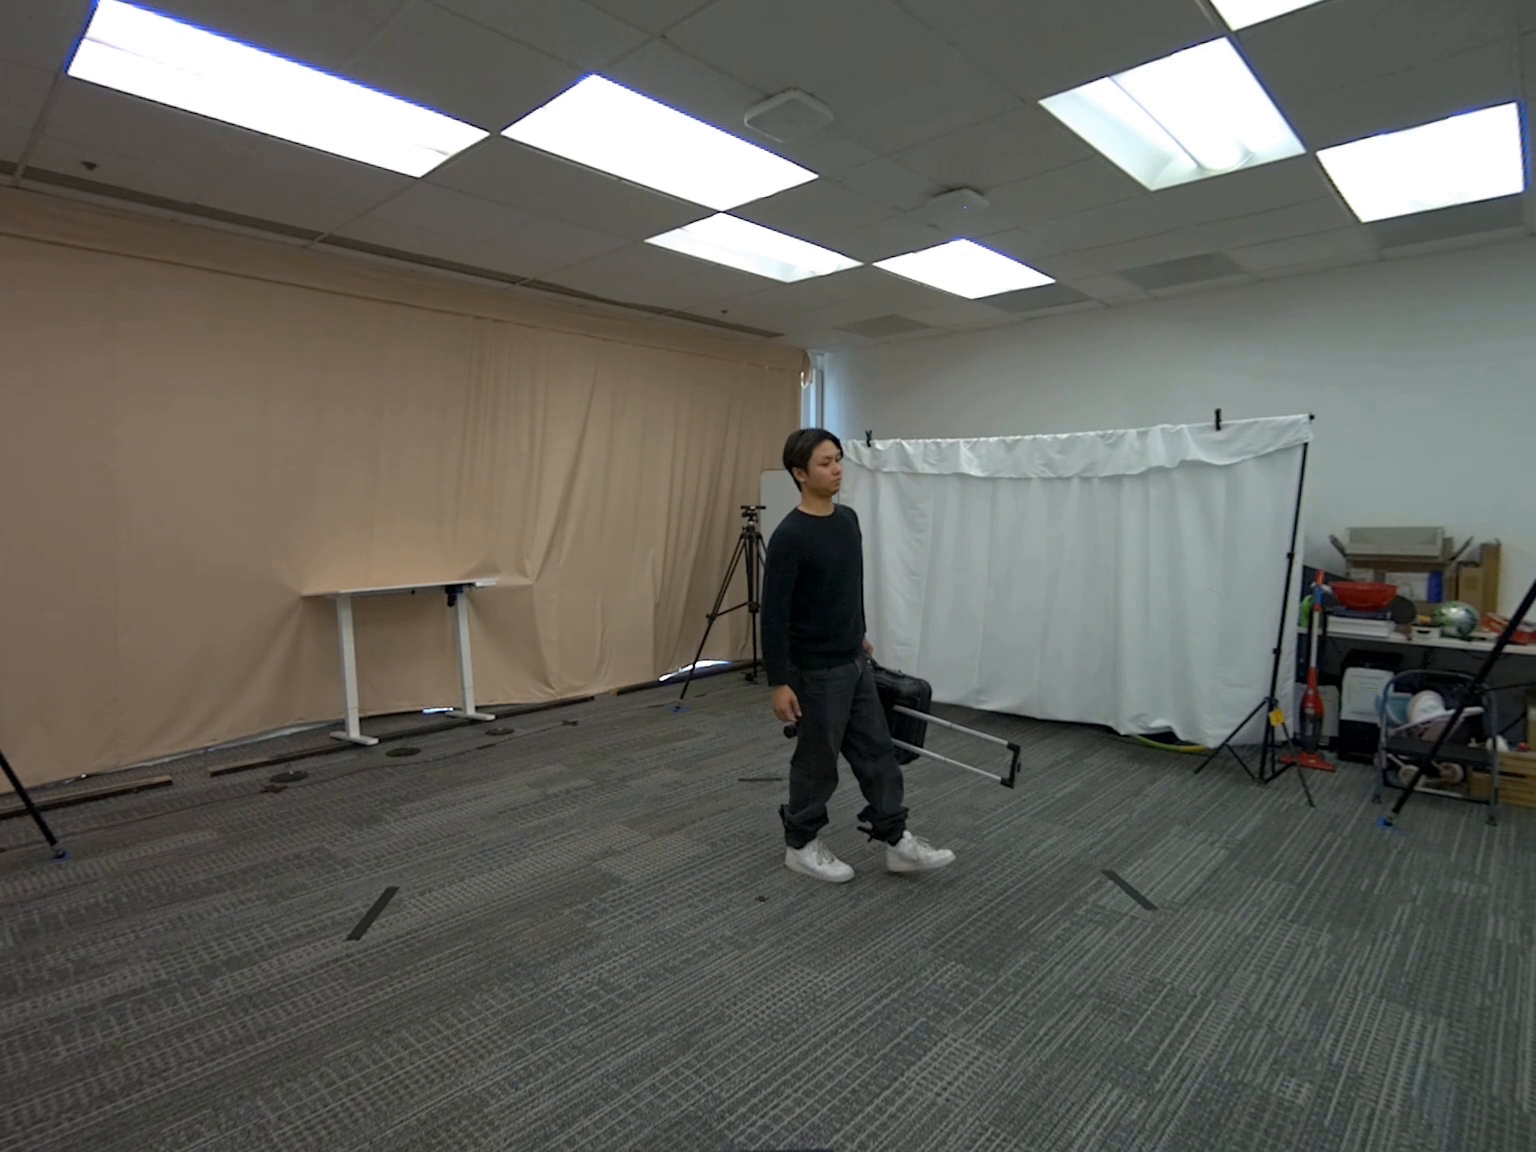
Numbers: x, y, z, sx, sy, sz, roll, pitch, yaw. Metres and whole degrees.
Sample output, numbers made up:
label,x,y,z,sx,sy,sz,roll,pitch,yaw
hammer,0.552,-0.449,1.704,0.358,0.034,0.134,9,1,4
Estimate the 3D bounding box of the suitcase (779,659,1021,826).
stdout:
label,x,y,z,sx,sy,sz,roll,pitch,yaw
suitcase,0.554,0.578,3.347,1.012,0.384,0.248,11,2,37
